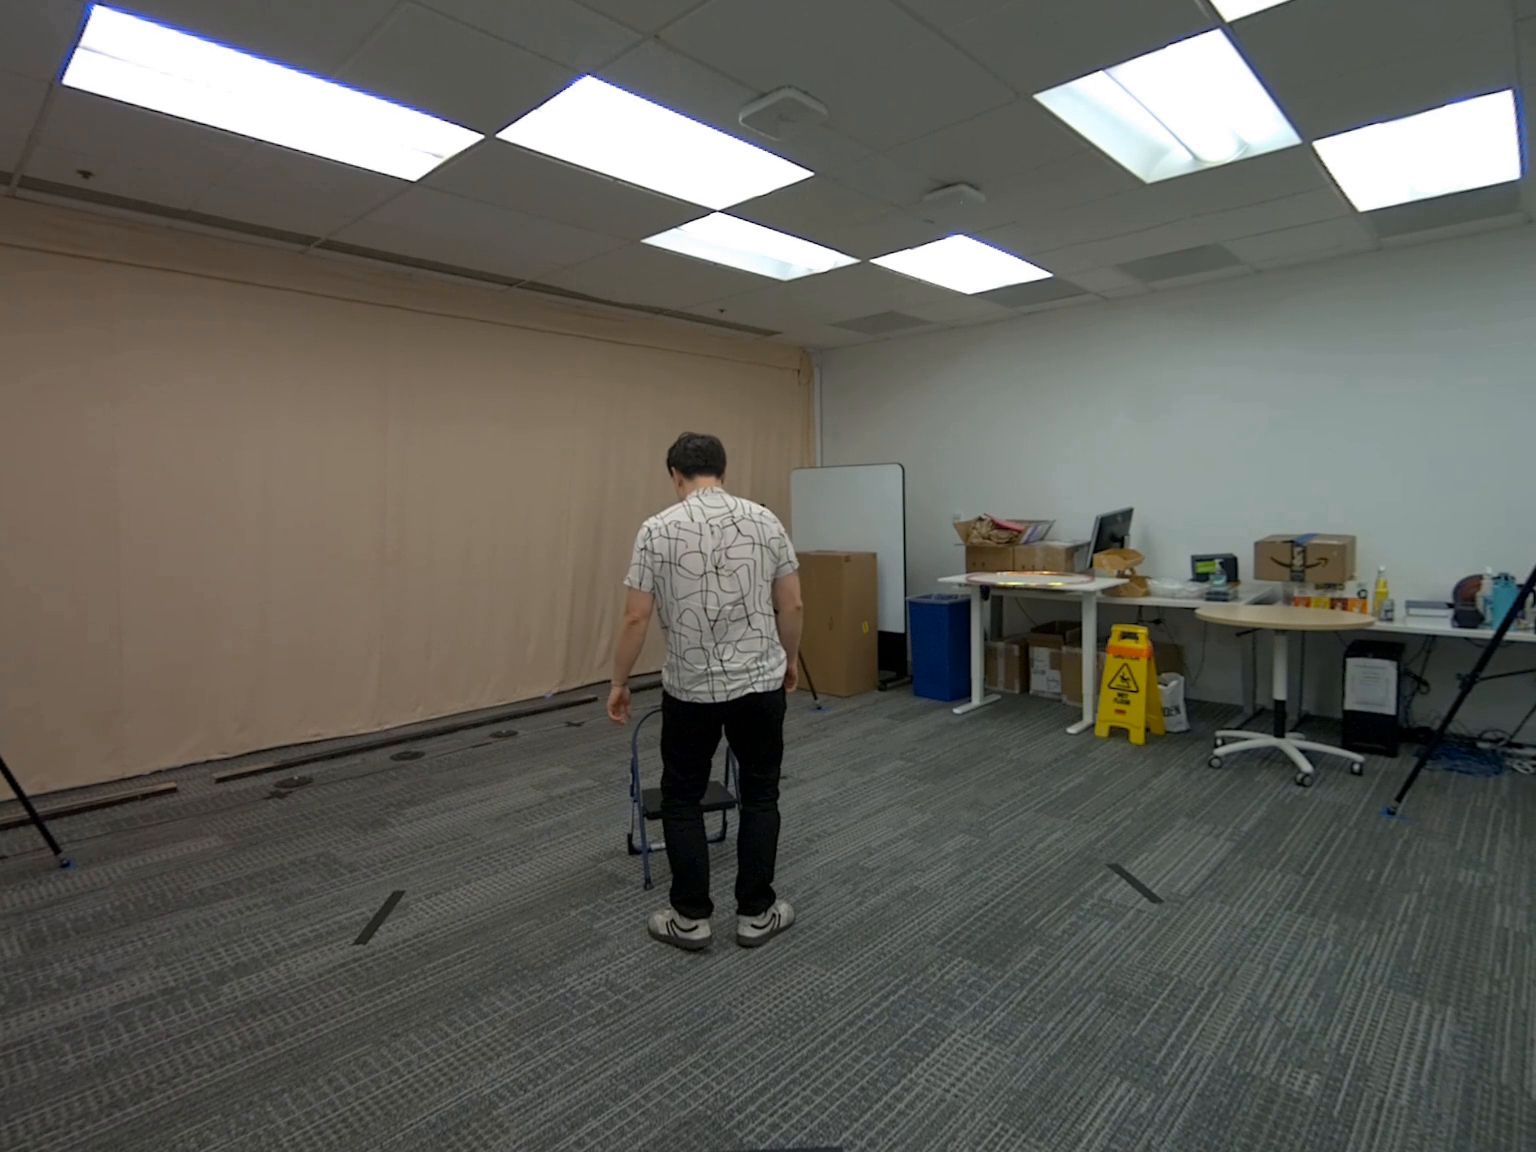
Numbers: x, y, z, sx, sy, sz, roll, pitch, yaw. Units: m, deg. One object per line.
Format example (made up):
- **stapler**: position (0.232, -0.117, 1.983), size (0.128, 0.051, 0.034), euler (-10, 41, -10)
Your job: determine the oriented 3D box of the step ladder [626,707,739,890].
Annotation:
- **step ladder**: position (-0.316, 0.818, 3.279), size (0.422, 0.605, 0.357), euler (-2, 3, -20)
